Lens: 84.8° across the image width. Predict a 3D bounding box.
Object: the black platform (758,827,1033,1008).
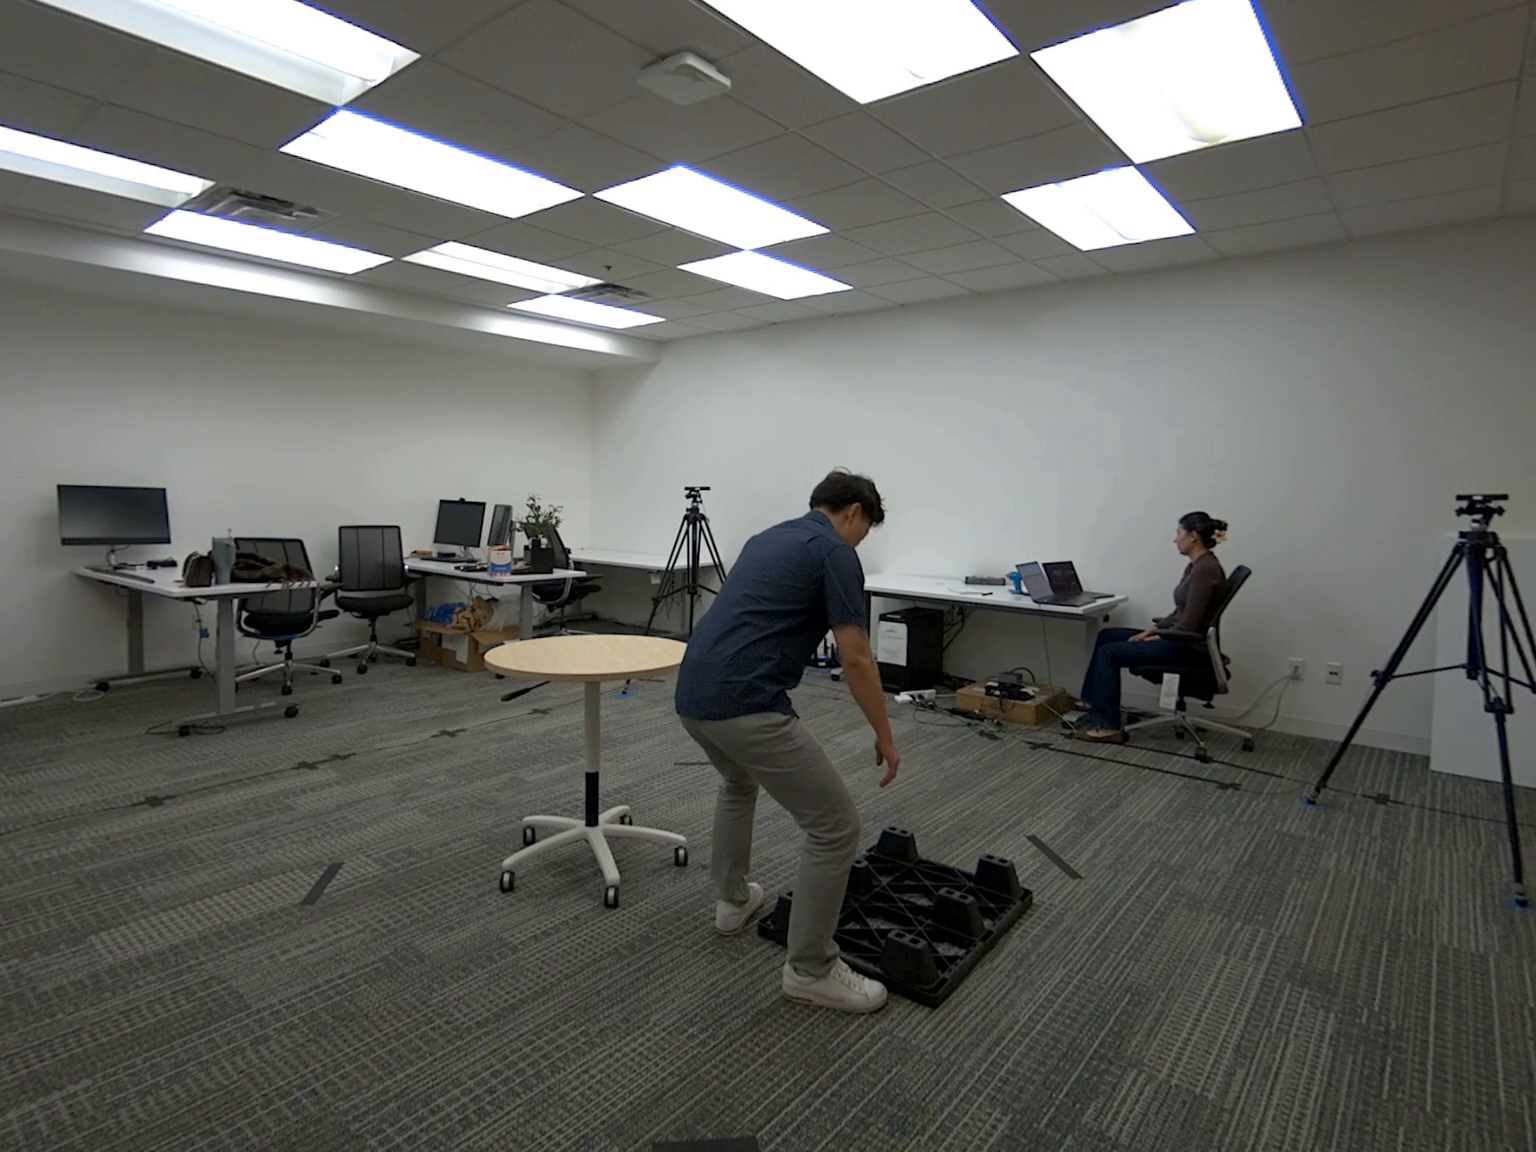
[{"bbox_3d":[0.430,1.045,2.766,0.625,0.143,0.783,5,7,36],"label":"black platform"}]
